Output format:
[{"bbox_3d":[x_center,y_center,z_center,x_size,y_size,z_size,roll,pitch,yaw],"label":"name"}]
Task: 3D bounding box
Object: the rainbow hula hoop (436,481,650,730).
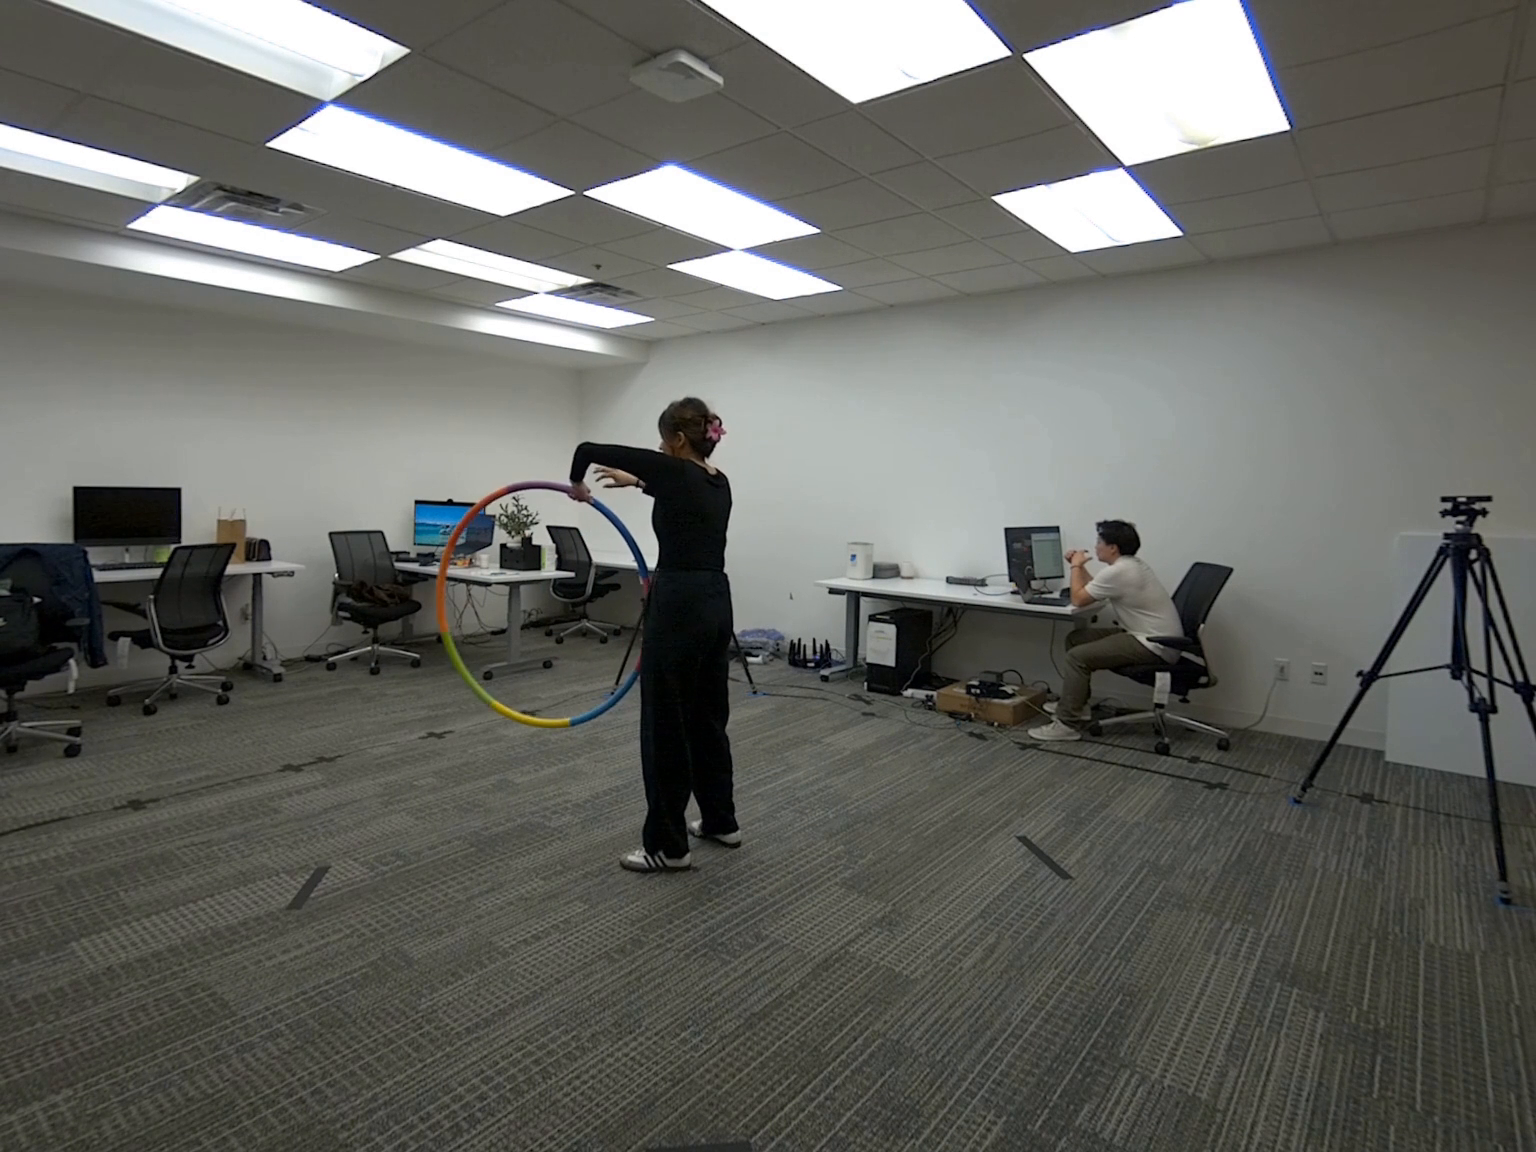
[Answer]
[{"bbox_3d":[-0.906,0.108,3.381,1.006,0.979,0.051,2,6,20],"label":"rainbow hula hoop"}]
